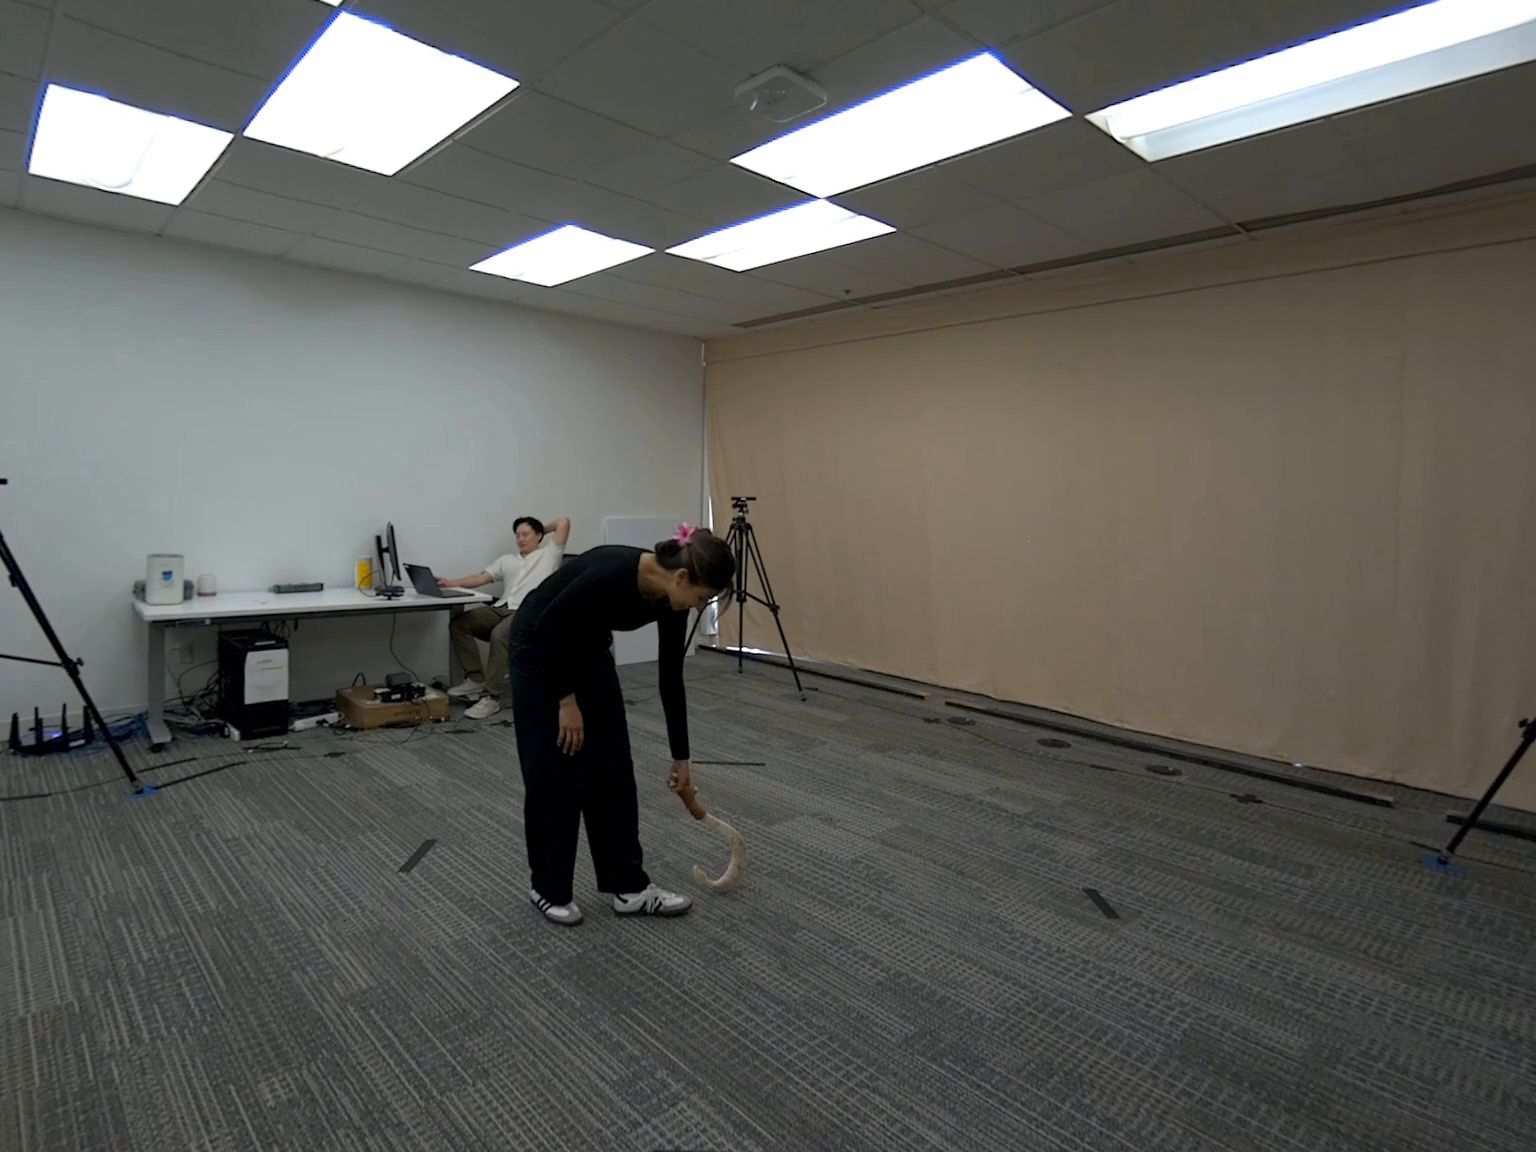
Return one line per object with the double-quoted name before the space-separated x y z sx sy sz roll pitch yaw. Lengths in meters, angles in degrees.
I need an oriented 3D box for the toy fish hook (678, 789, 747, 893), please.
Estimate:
"toy fish hook" -0.236 0.898 2.904 0.049 0.495 0.225 -6 35 49
